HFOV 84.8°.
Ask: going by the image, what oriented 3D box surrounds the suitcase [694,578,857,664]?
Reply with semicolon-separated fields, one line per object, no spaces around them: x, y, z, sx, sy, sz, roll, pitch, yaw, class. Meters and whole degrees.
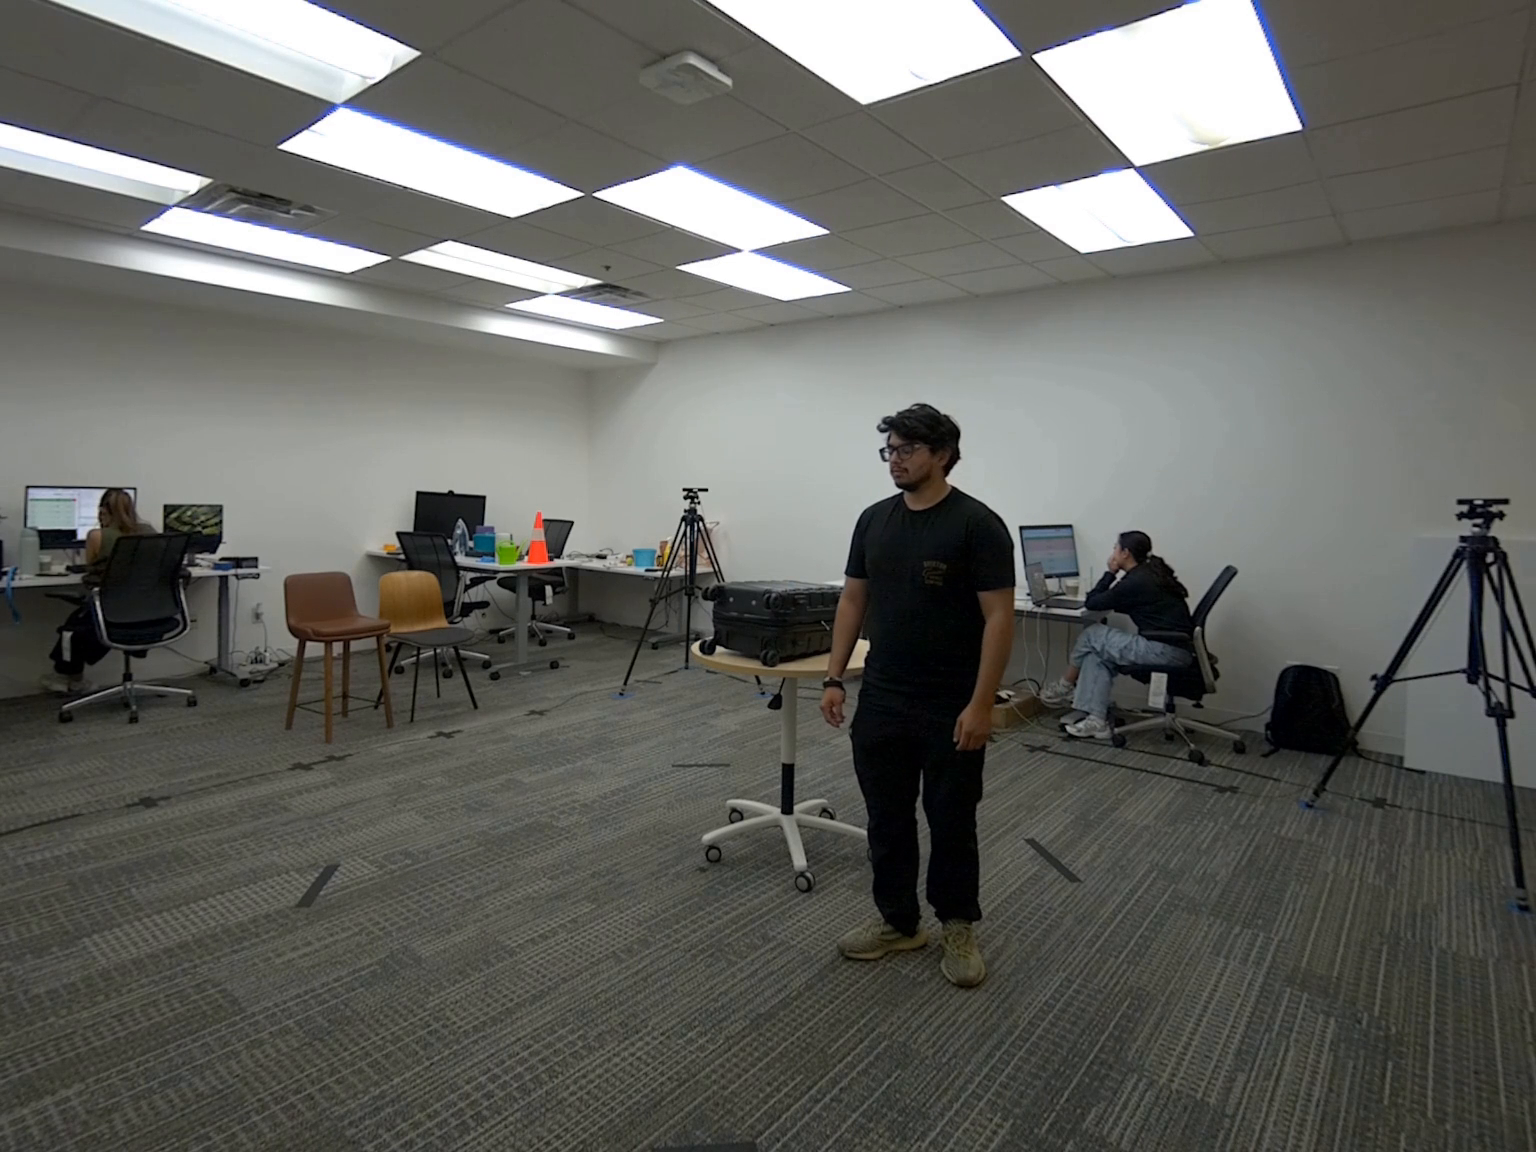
0.040;0.155;3.229;0.388;0.248;0.533;4;4;37;suitcase
